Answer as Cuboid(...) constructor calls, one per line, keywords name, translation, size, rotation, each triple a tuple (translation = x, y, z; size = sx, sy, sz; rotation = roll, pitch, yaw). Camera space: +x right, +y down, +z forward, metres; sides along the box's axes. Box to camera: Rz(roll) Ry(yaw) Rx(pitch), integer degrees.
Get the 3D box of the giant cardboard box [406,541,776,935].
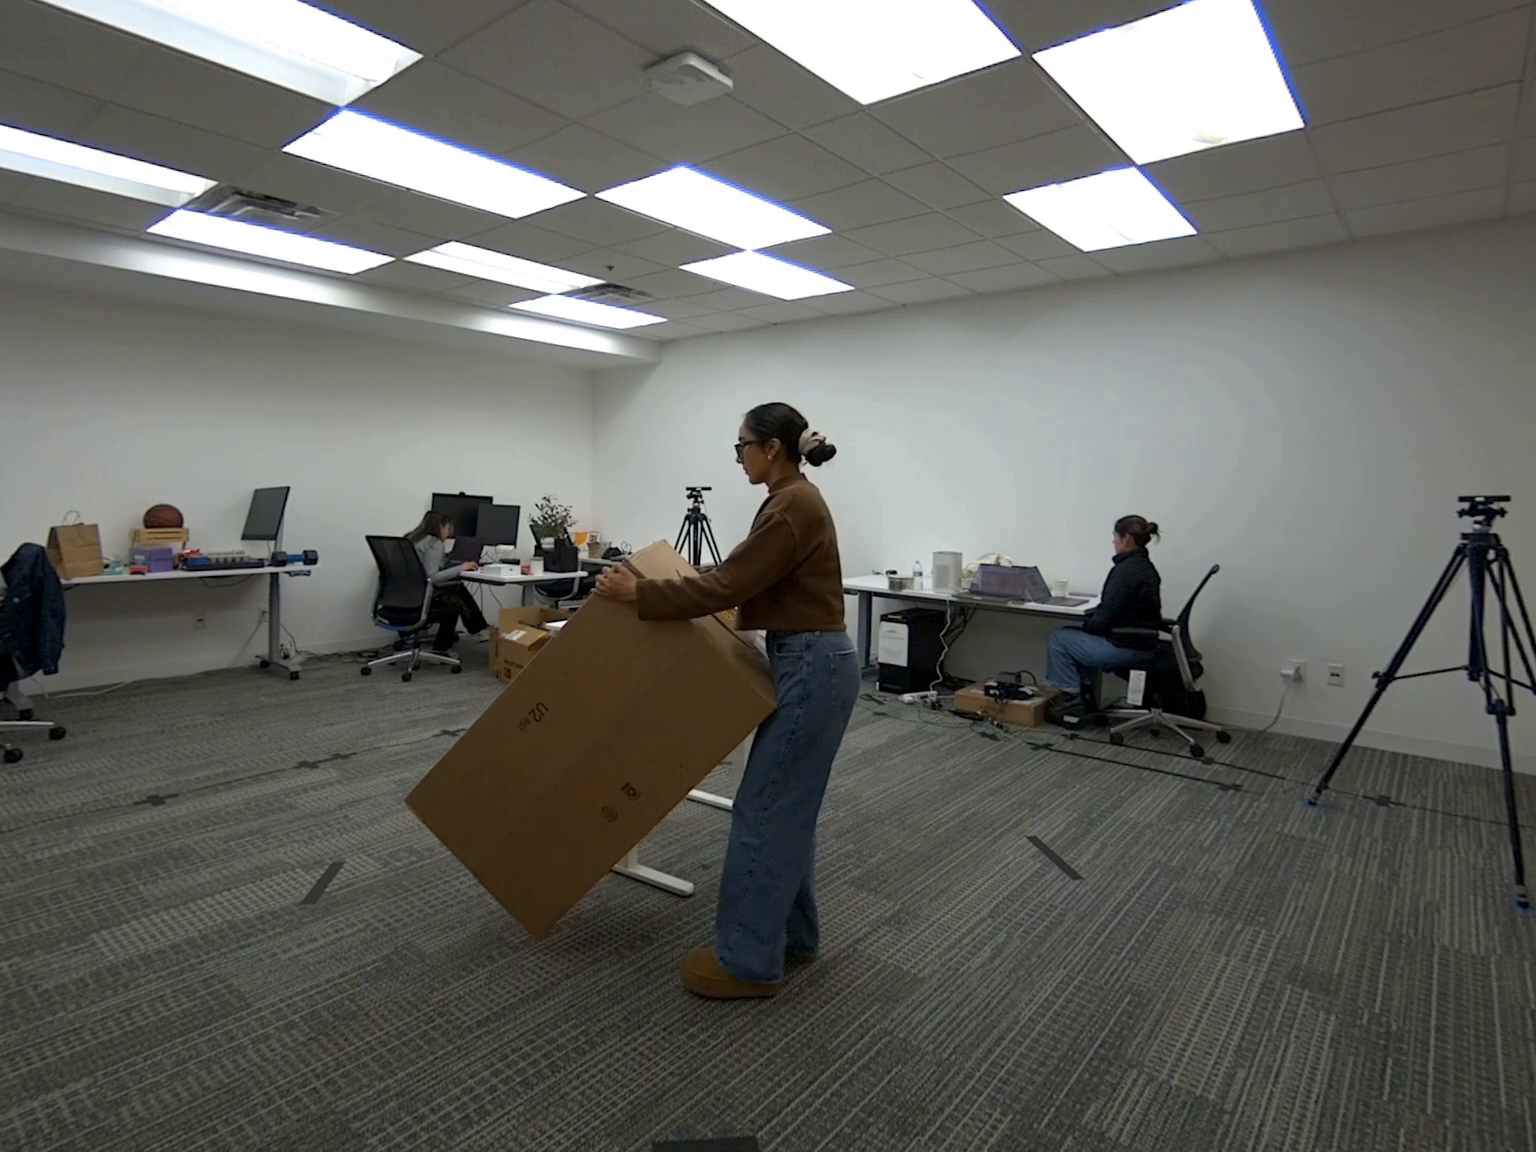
Cuboid(name="giant cardboard box", translation=(-0.512, 0.482, 2.584), size=(0.580, 1.026, 0.424), rotation=(44, 12, 2))
